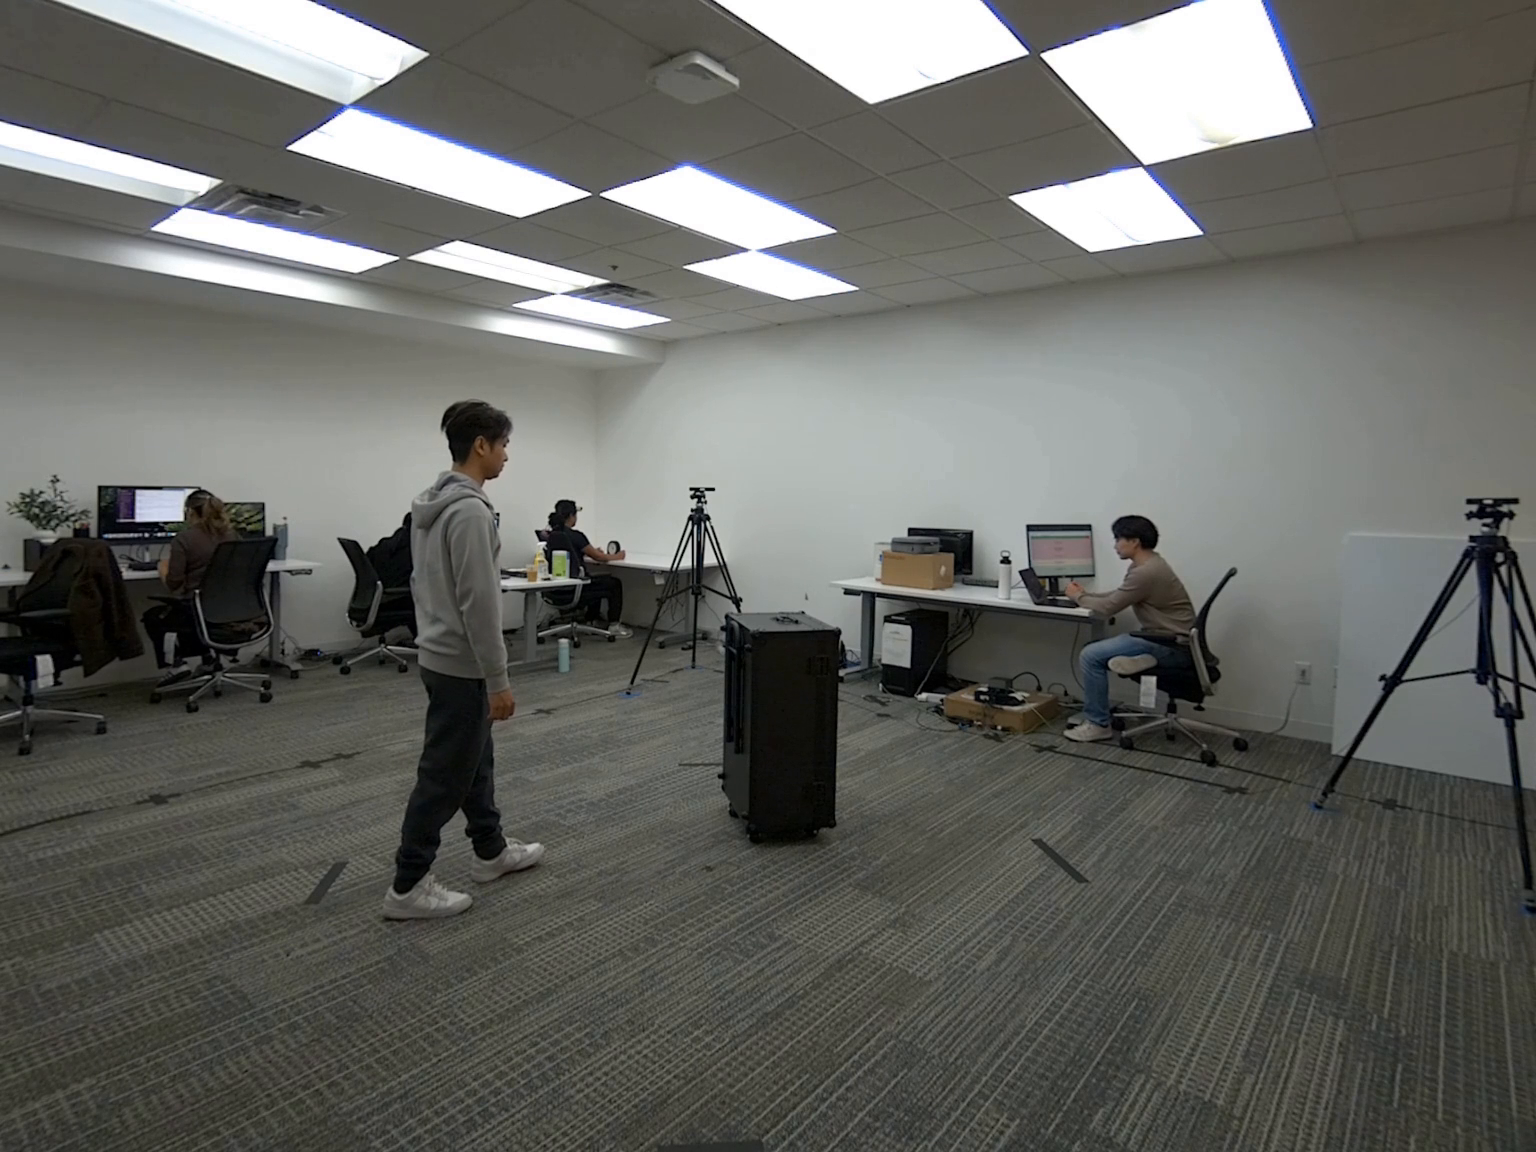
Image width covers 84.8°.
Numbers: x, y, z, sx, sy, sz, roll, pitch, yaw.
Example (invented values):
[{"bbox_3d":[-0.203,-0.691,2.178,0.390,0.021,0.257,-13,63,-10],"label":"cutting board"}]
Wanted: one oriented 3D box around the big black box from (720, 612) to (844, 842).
[{"bbox_3d":[0.025,0.606,3.515,0.391,0.858,0.531,0,4,-14],"label":"big black box"}]
